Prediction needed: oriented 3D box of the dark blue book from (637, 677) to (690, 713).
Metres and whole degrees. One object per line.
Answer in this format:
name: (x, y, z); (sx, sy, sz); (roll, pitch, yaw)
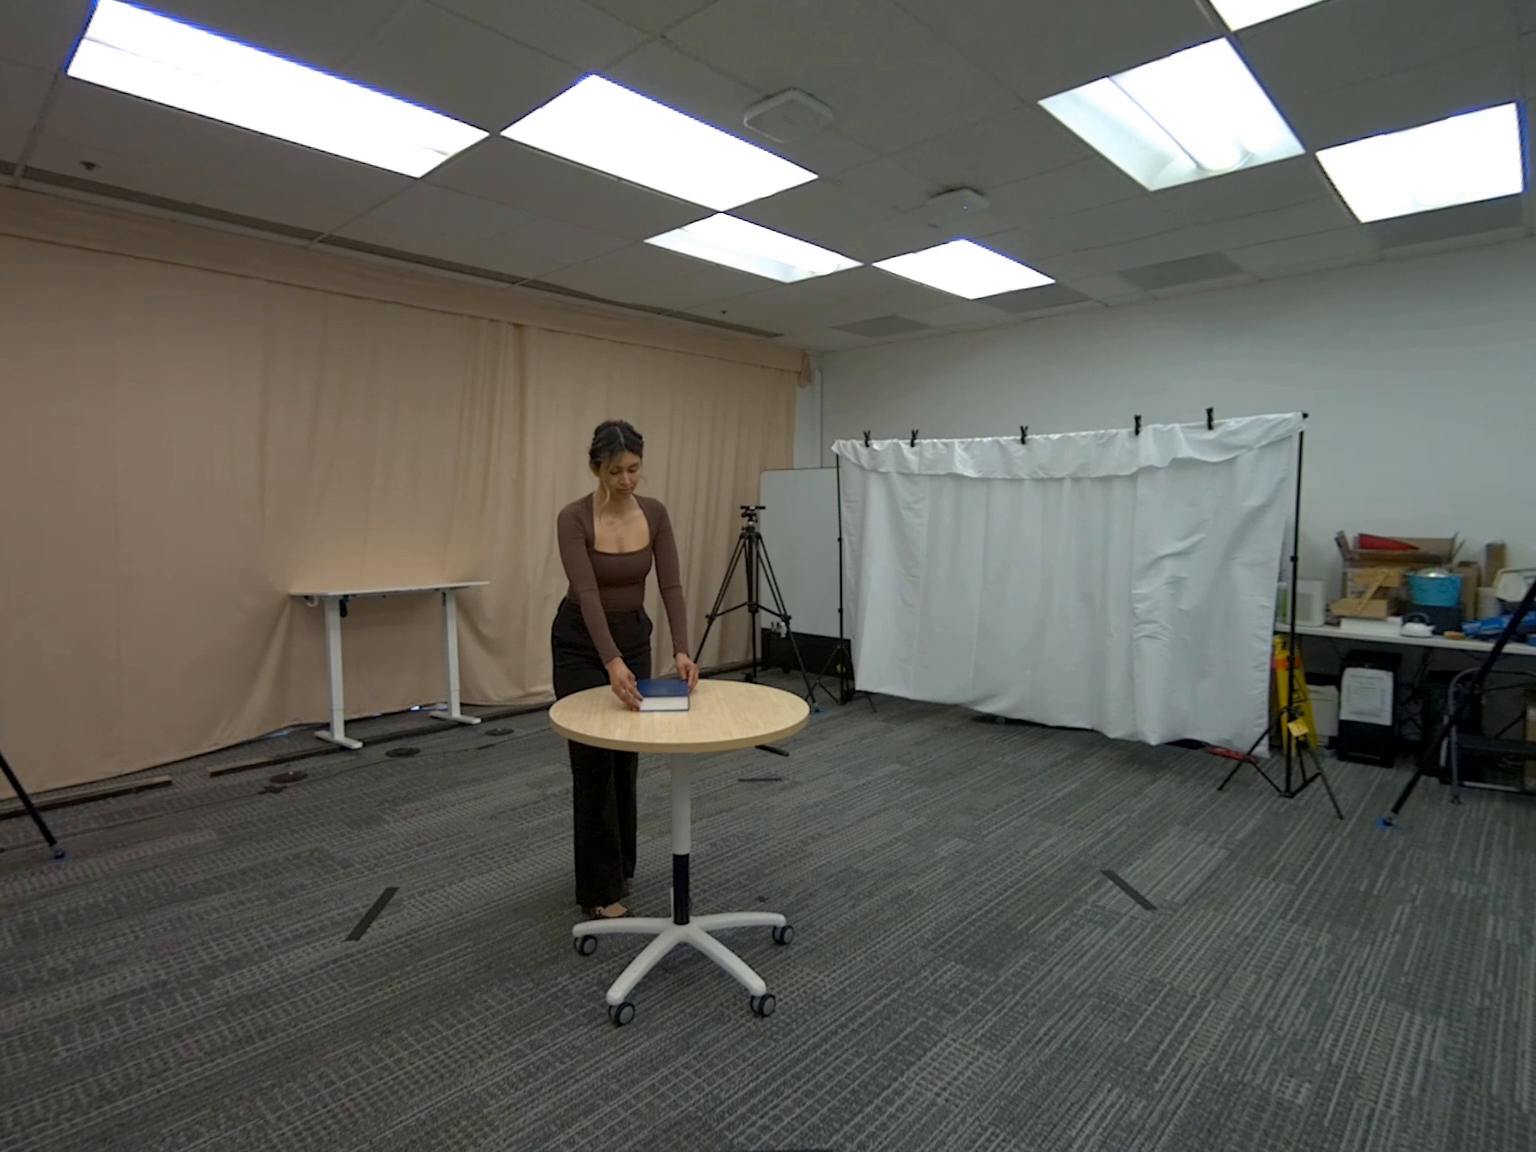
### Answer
dark blue book: (-0.322, 0.366, 2.562); (0.163, 0.045, 0.246); (0, 4, -4)
